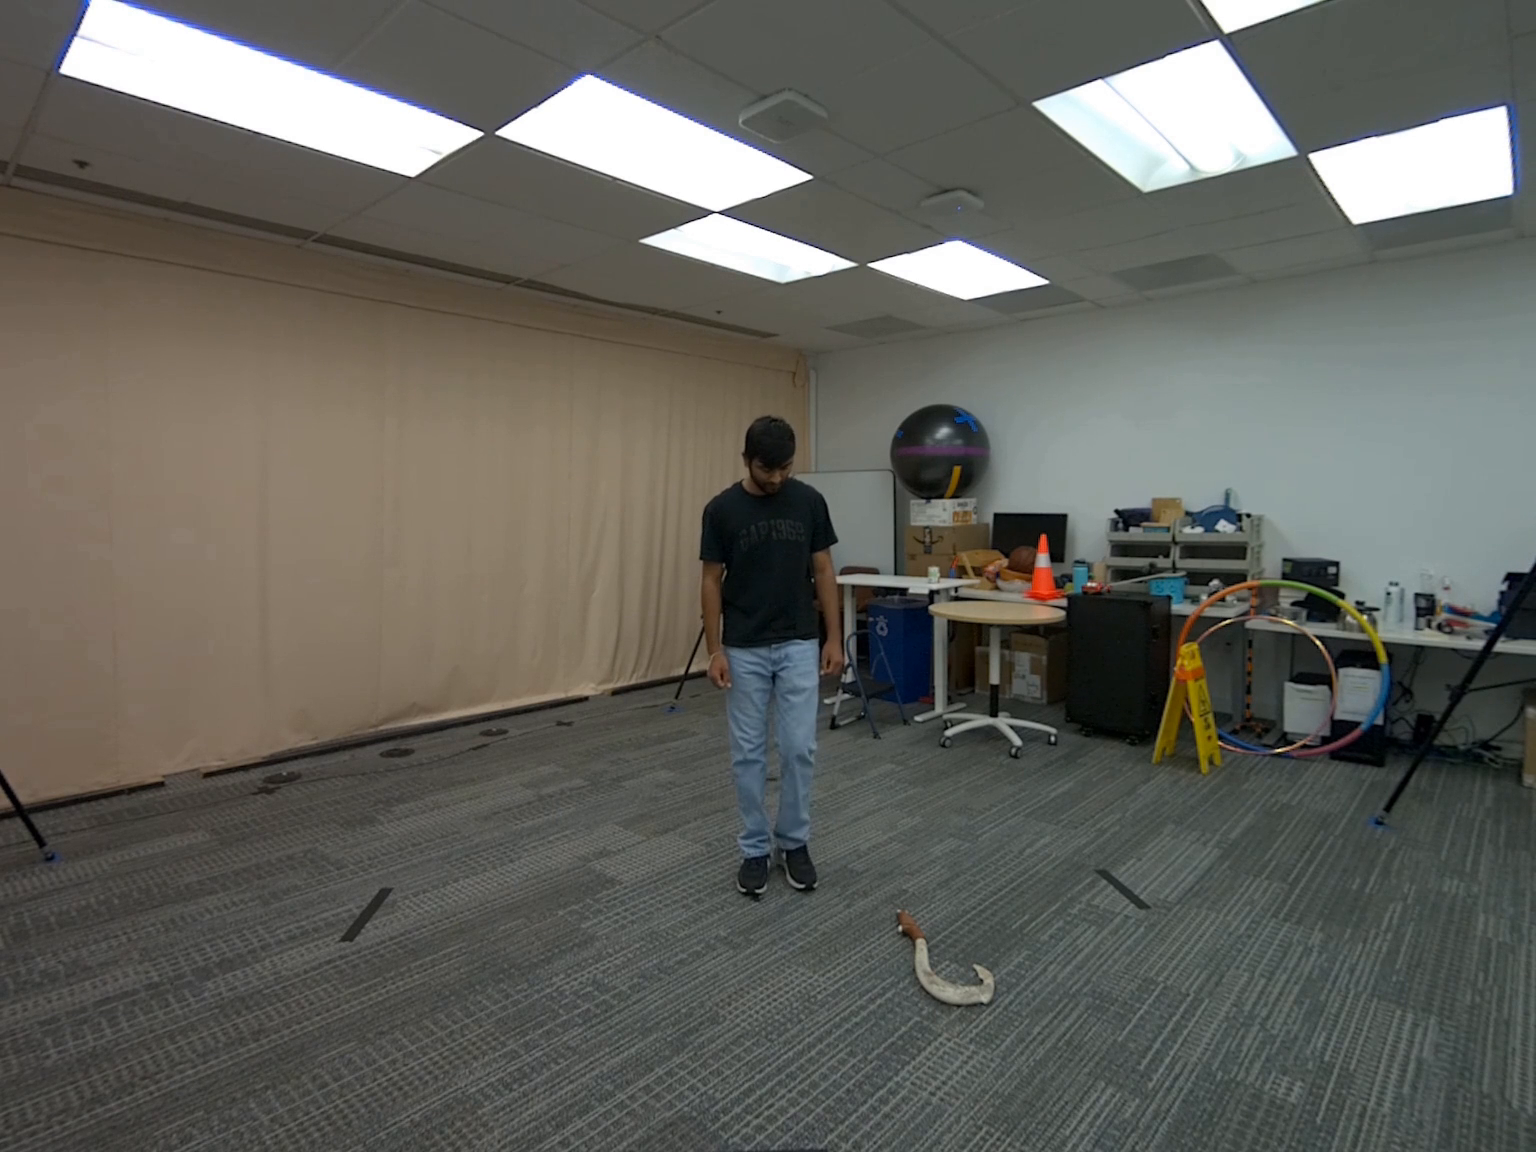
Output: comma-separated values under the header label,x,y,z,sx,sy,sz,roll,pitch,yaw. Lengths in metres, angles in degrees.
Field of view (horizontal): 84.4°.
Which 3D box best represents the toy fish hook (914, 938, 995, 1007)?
label,x,y,z,sx,sy,sz,roll,pitch,yaw
toy fish hook,0.535,1.160,2.582,0.223,0.048,0.511,7,4,-7
